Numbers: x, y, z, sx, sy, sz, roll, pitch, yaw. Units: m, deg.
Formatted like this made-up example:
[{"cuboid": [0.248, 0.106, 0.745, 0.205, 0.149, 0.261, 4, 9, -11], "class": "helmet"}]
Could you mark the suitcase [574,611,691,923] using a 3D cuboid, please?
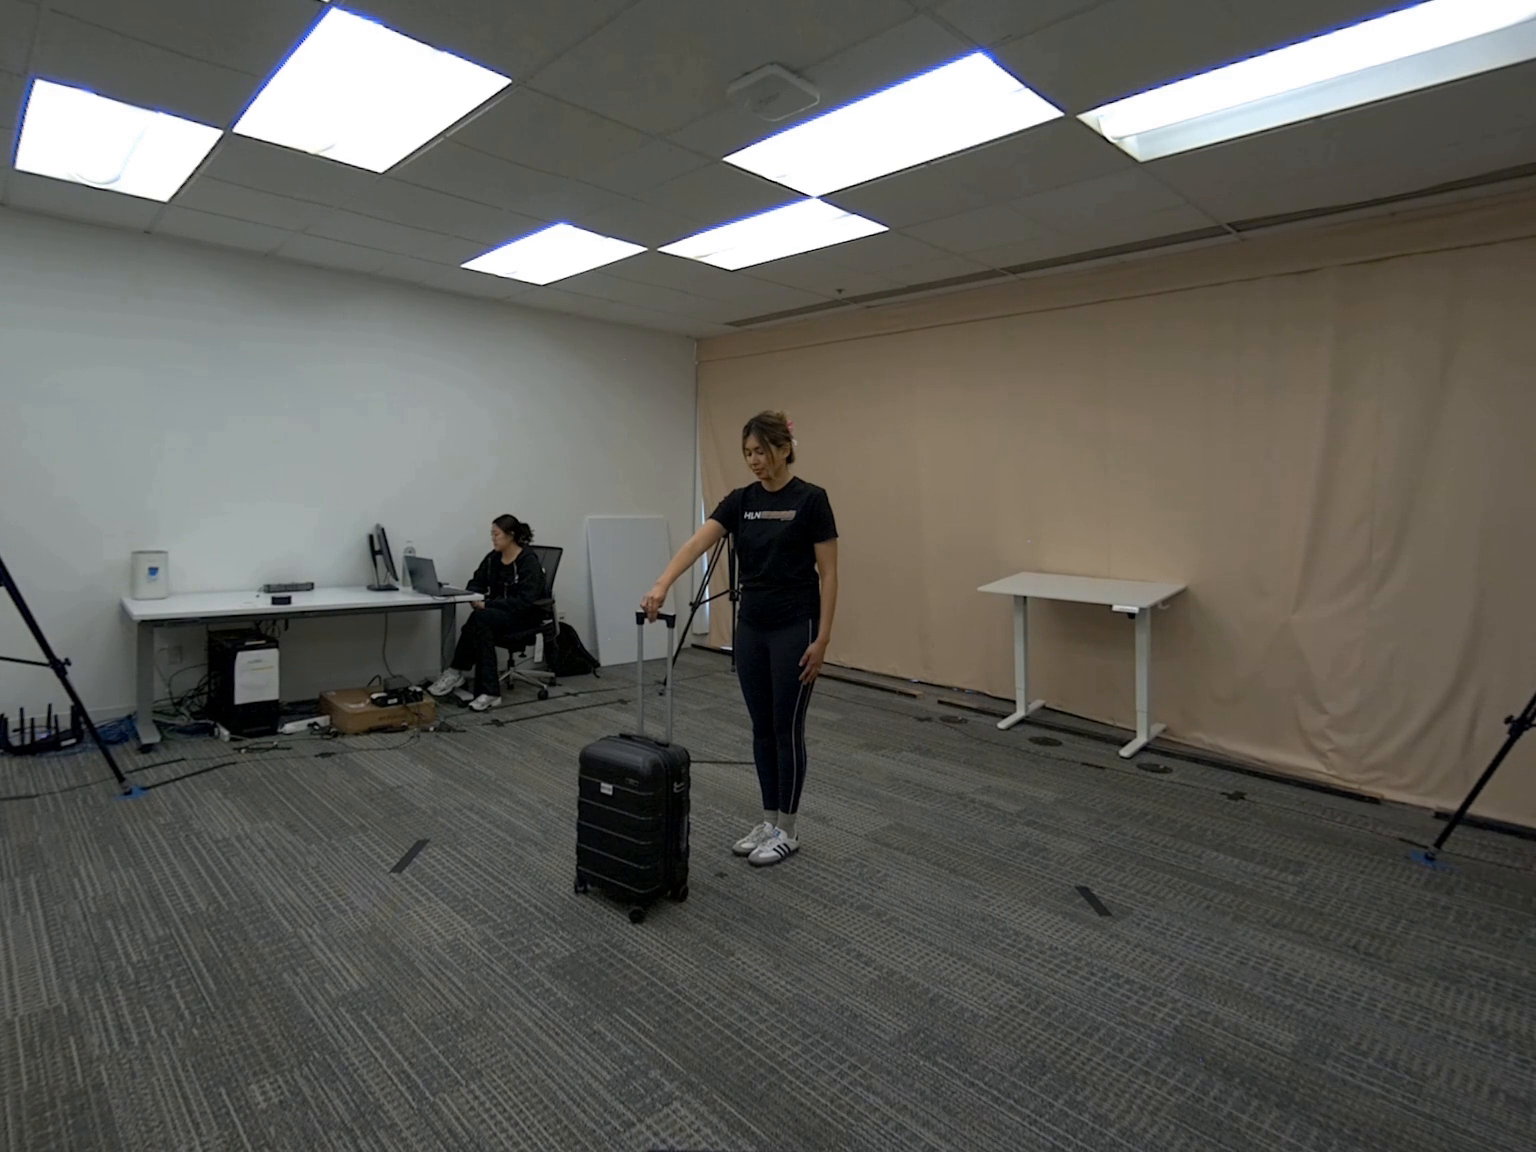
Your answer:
[{"cuboid": [-0.470, 0.641, 2.891, 0.393, 0.975, 0.252, 4, 6, 35], "class": "suitcase"}]
